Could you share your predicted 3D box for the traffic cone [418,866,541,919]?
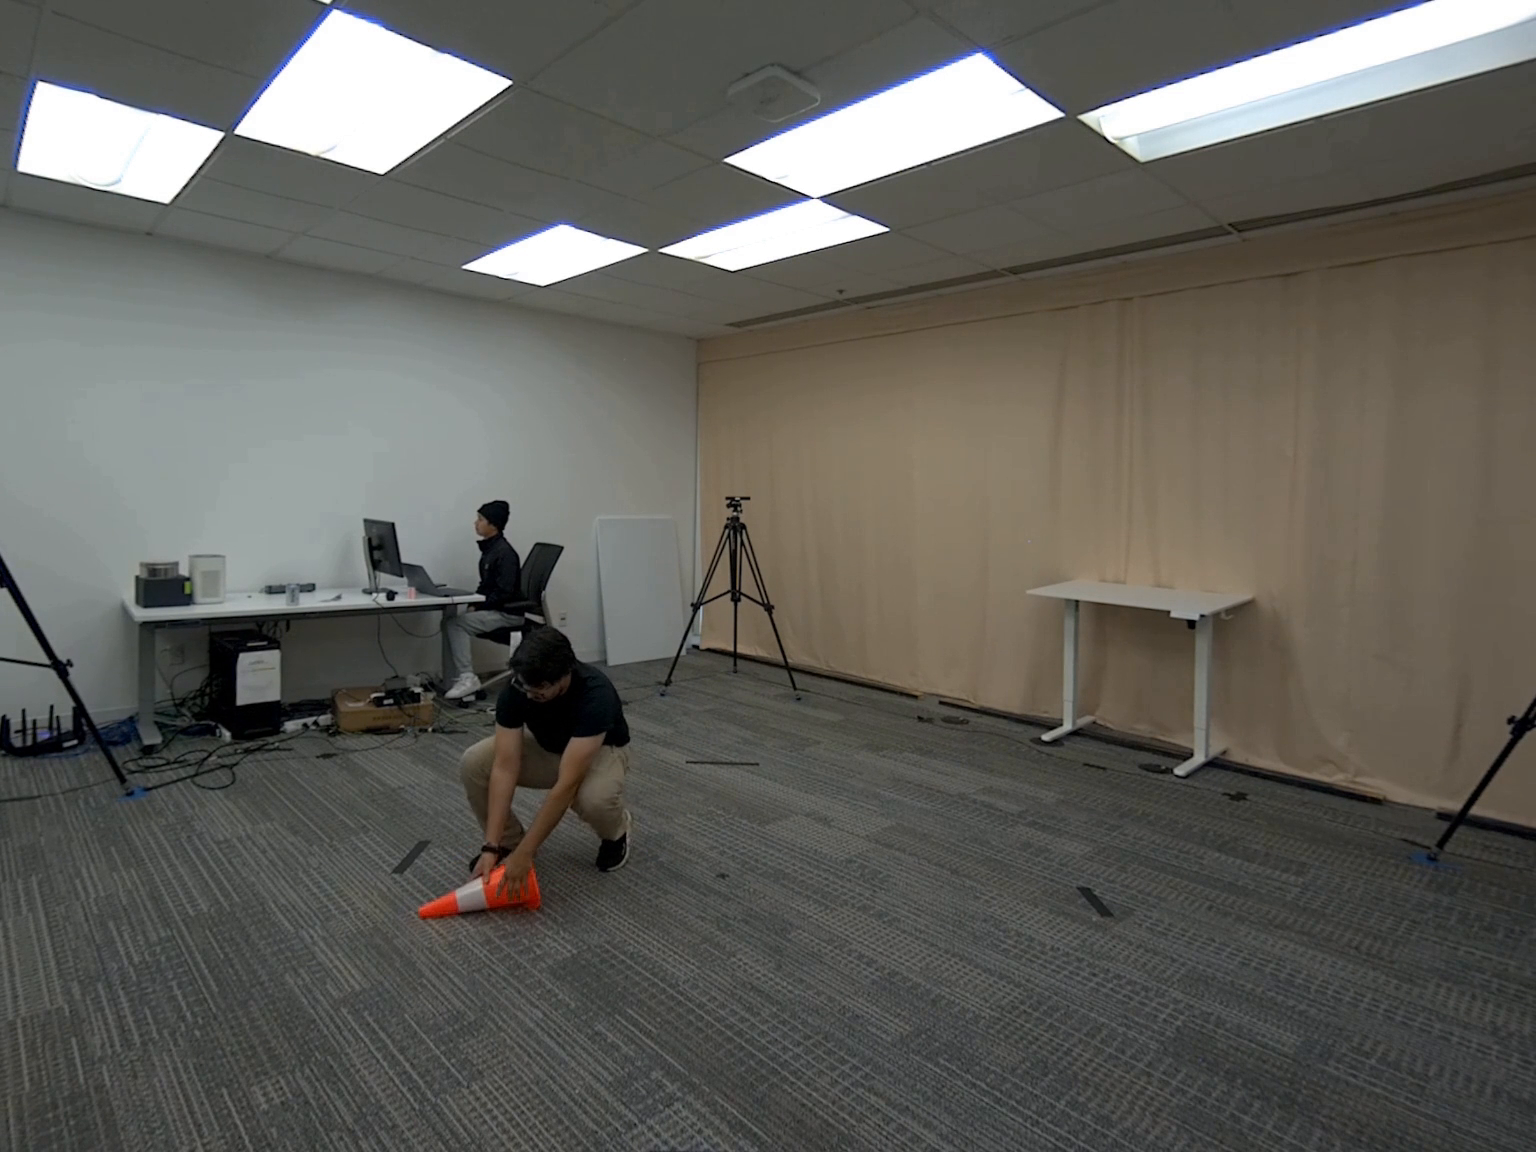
[{"bbox_3d":[-0.991,1.059,2.803,0.380,0.211,0.199,-13,-36,-16],"label":"traffic cone"}]
